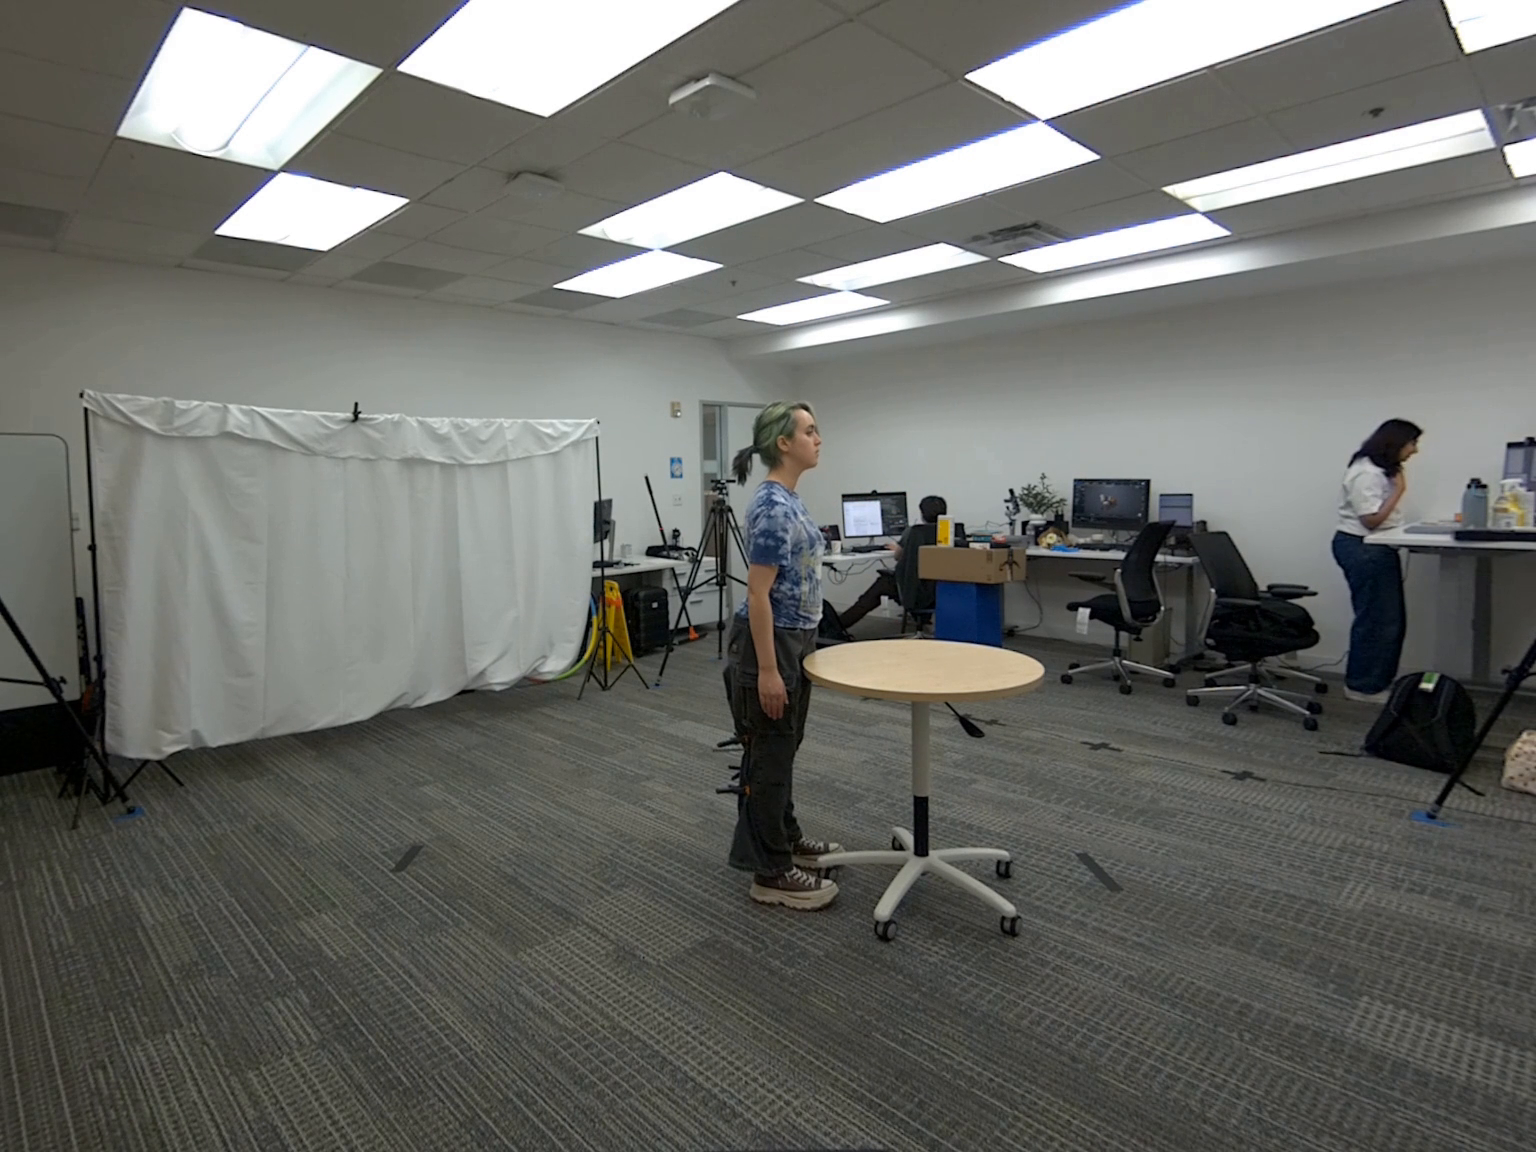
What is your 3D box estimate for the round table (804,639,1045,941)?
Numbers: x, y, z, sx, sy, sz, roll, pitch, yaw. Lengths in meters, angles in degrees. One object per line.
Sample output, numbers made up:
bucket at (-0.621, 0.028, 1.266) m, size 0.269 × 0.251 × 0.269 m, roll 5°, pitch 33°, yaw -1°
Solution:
round table at (0.496, 0.674, 2.816) m, size 0.784 × 0.783 × 0.789 m, roll -1°, pitch 5°, yaw -2°
